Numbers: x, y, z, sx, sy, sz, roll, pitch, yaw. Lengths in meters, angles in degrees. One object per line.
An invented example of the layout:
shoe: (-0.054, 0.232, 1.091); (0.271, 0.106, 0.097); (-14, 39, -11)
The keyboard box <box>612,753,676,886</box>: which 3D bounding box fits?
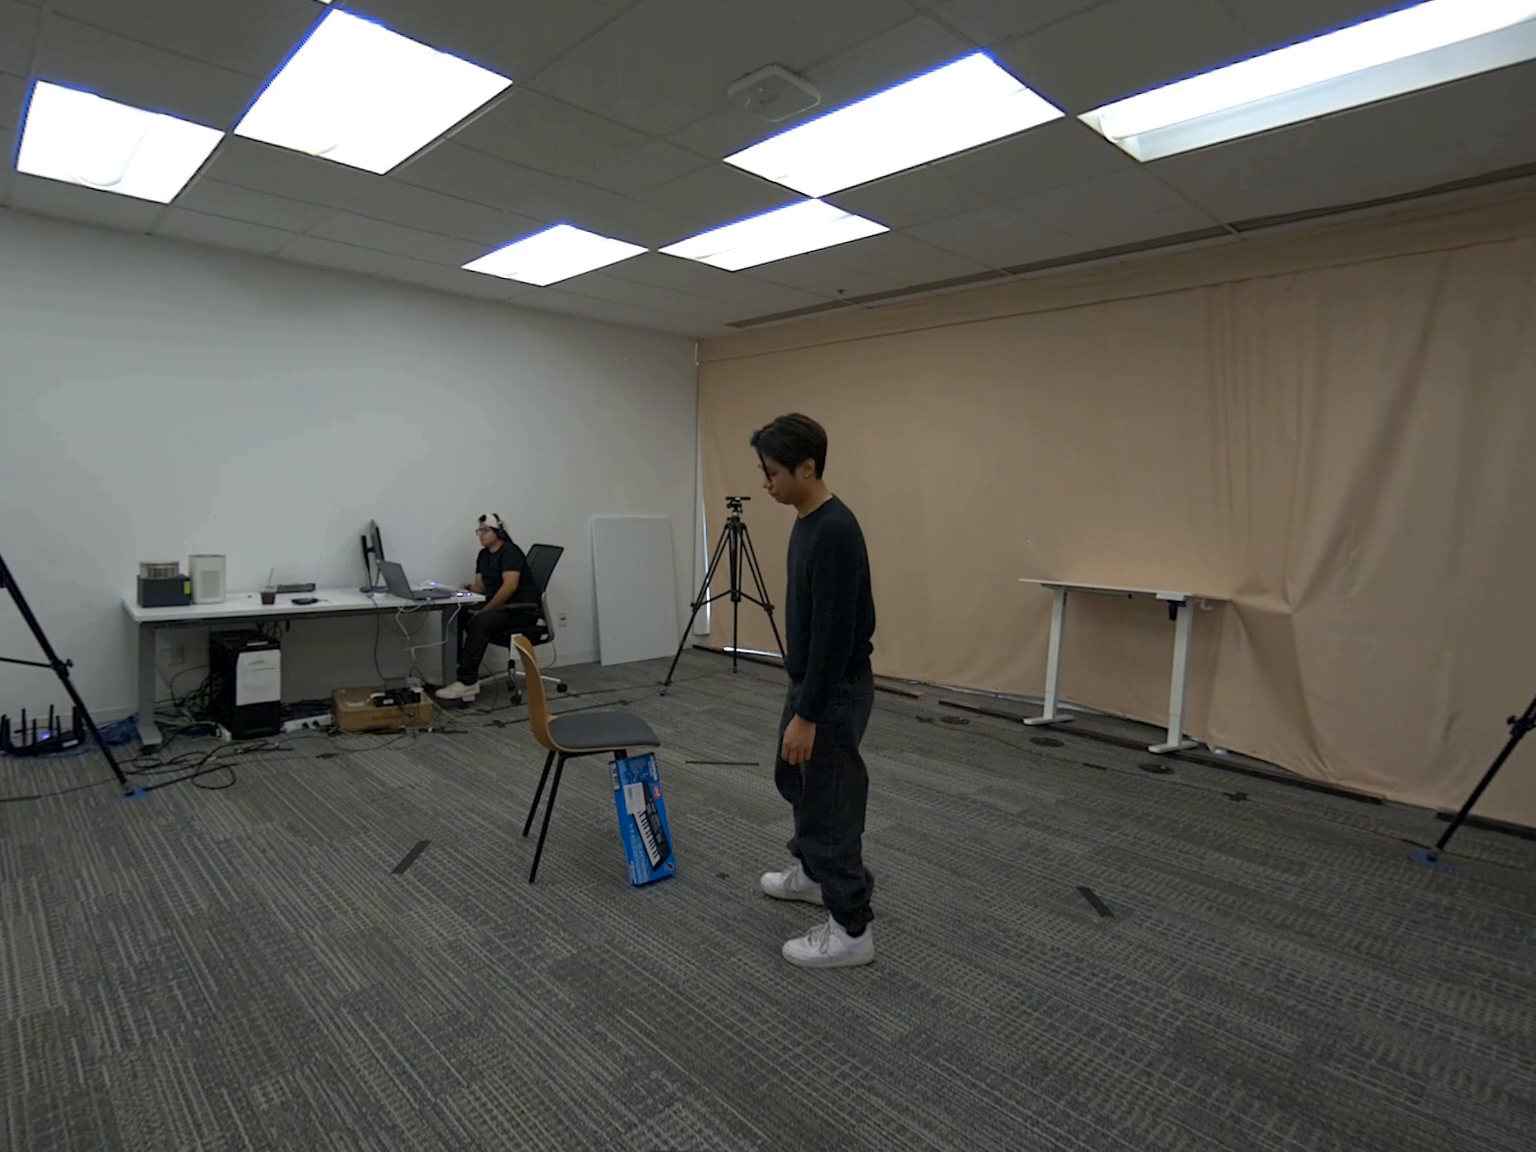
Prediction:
keyboard box: (-0.471, 0.888, 3.096); (0.172, 0.442, 0.060); (-2, -16, -41)
